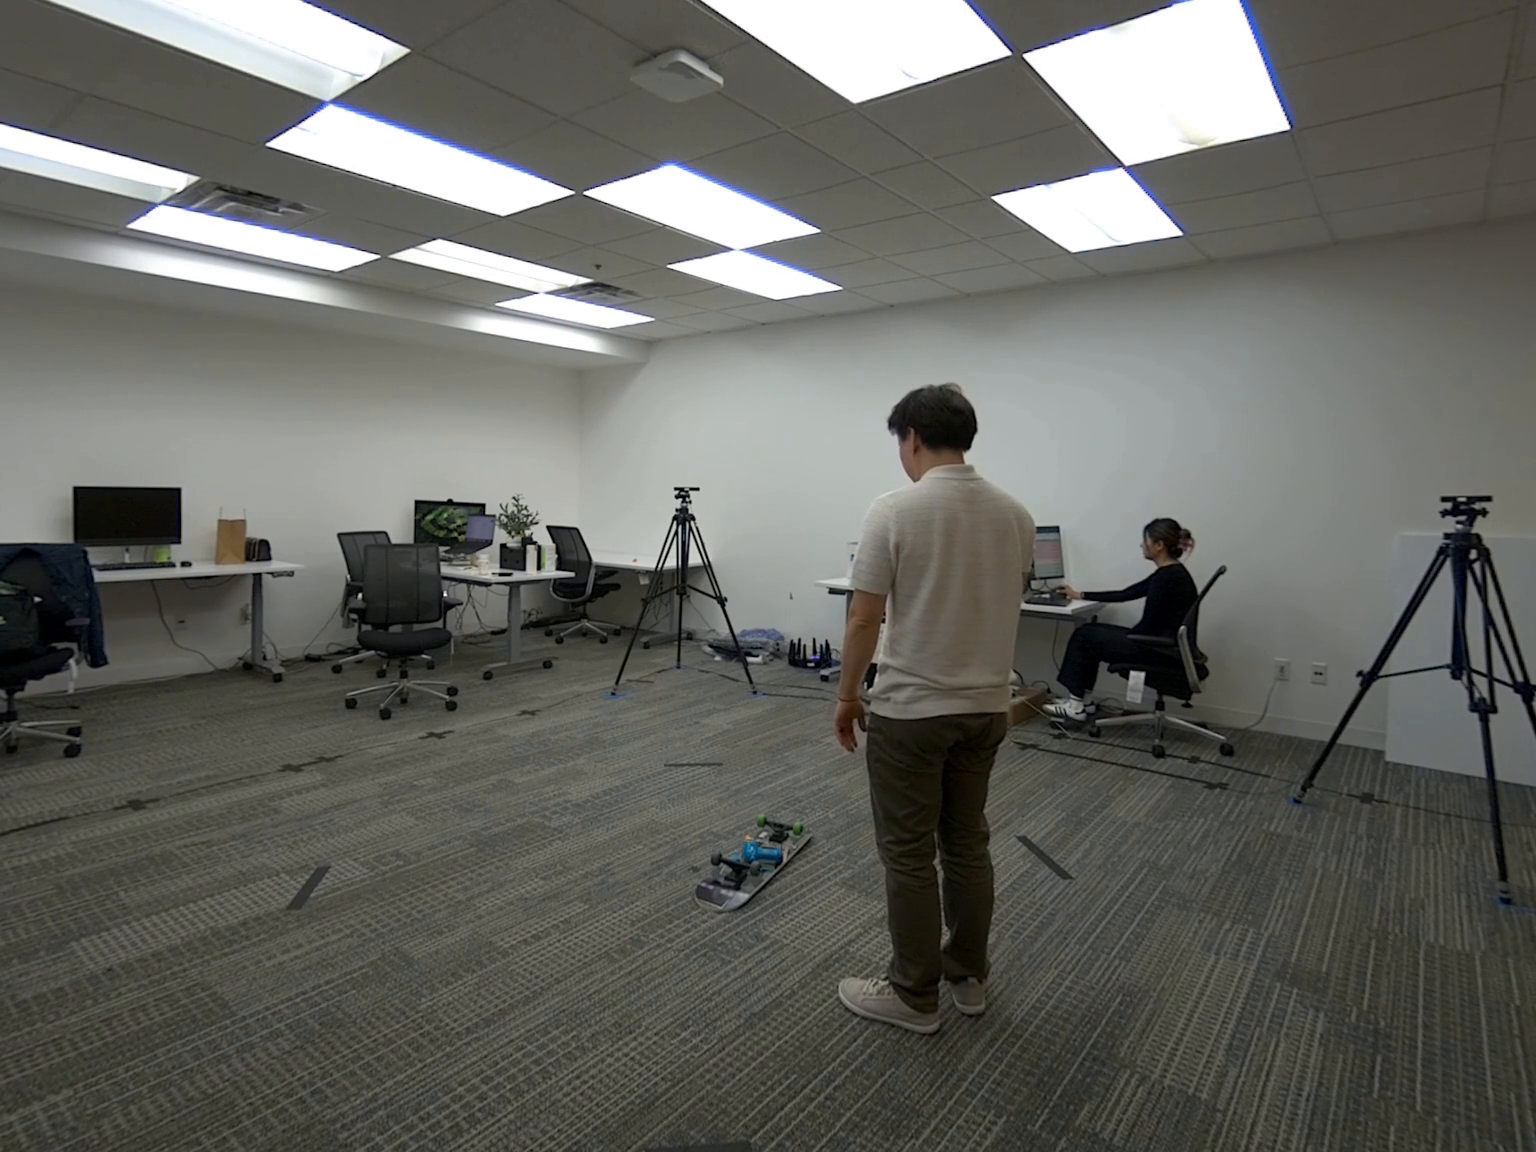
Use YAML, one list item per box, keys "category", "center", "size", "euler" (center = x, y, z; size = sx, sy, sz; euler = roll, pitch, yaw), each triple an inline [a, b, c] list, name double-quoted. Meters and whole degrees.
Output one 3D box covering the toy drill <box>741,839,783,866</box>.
- category: "toy drill"
  center: [-0.030, 1.006, 3.142]
  size: [0.145, 0.060, 0.172]
  euler: [2, 11, -6]
